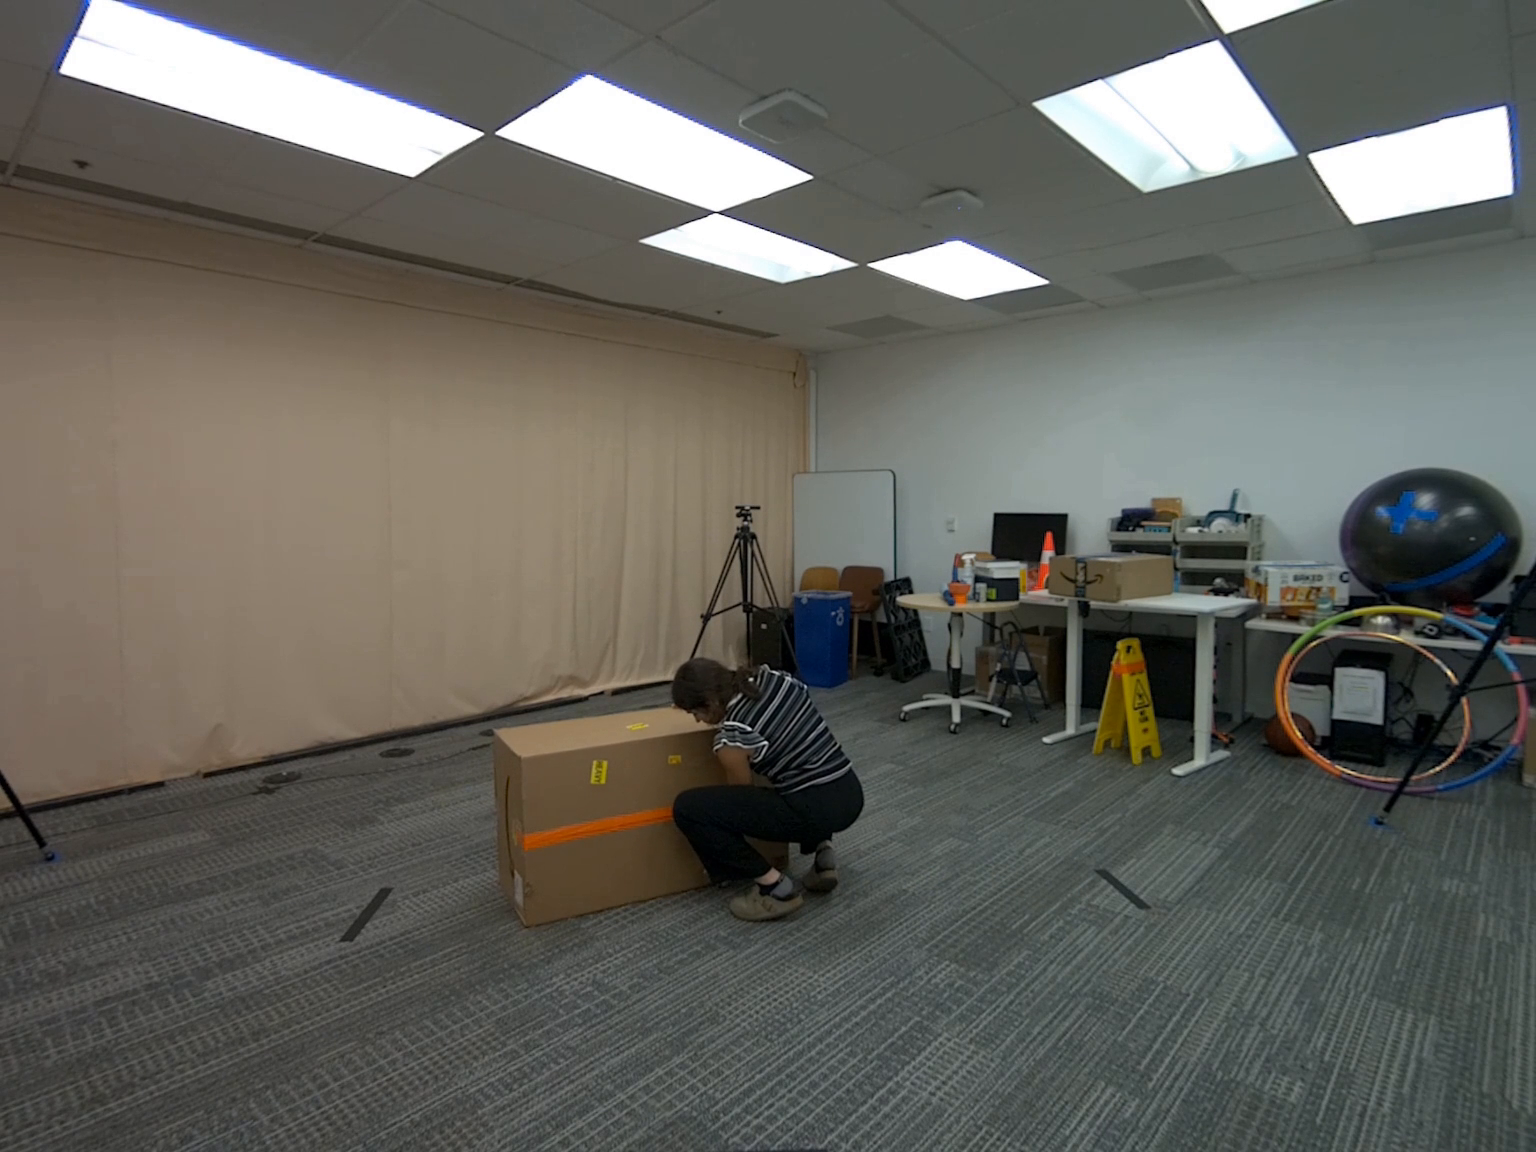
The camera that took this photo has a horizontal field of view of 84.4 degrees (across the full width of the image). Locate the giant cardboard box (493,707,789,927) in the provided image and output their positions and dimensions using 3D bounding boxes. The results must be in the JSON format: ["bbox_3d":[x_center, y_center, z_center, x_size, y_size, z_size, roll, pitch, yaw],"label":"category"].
[{"bbox_3d":[-0.474,0.839,3.187,1.000,0.577,0.437,-3,3,-27],"label":"giant cardboard box"}]
